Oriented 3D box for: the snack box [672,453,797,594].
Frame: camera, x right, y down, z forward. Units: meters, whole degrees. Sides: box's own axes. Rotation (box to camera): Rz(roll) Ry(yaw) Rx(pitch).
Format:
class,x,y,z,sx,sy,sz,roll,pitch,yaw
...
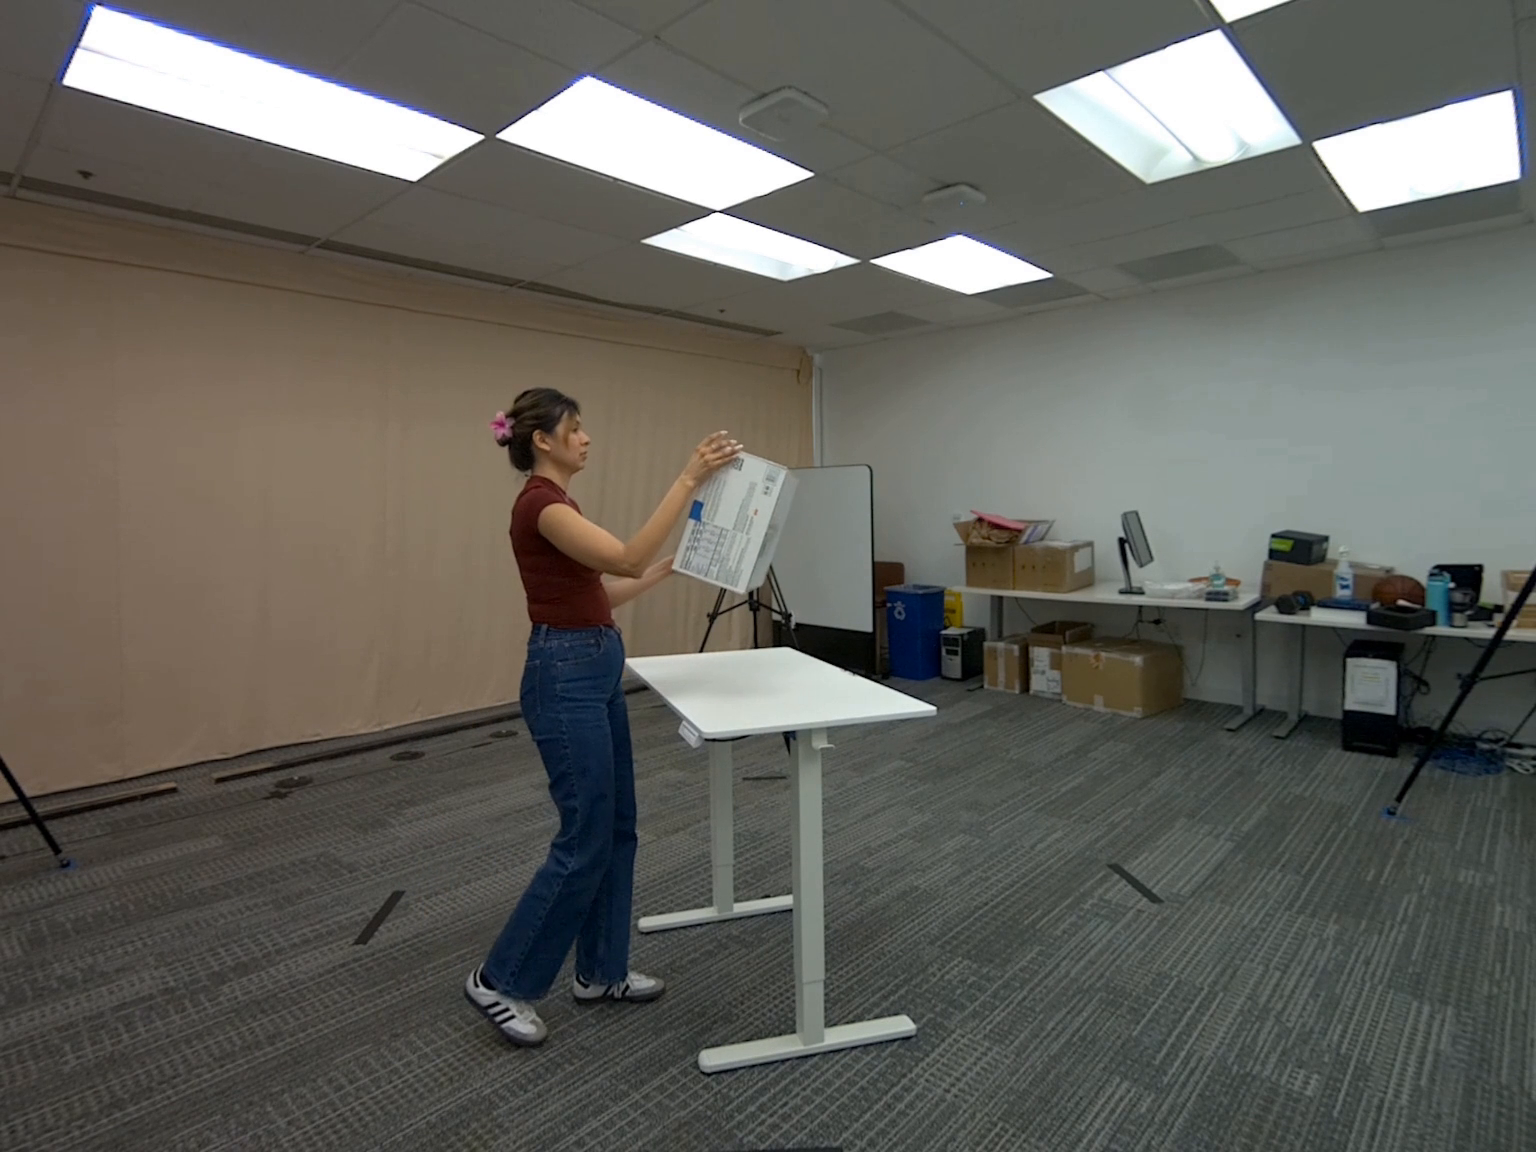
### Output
class,x,y,z,sx,sy,sz,roll,pitch,yaw
snack box,-0.074,-0.152,2.309,0.208,0.340,0.401,19,5,7
